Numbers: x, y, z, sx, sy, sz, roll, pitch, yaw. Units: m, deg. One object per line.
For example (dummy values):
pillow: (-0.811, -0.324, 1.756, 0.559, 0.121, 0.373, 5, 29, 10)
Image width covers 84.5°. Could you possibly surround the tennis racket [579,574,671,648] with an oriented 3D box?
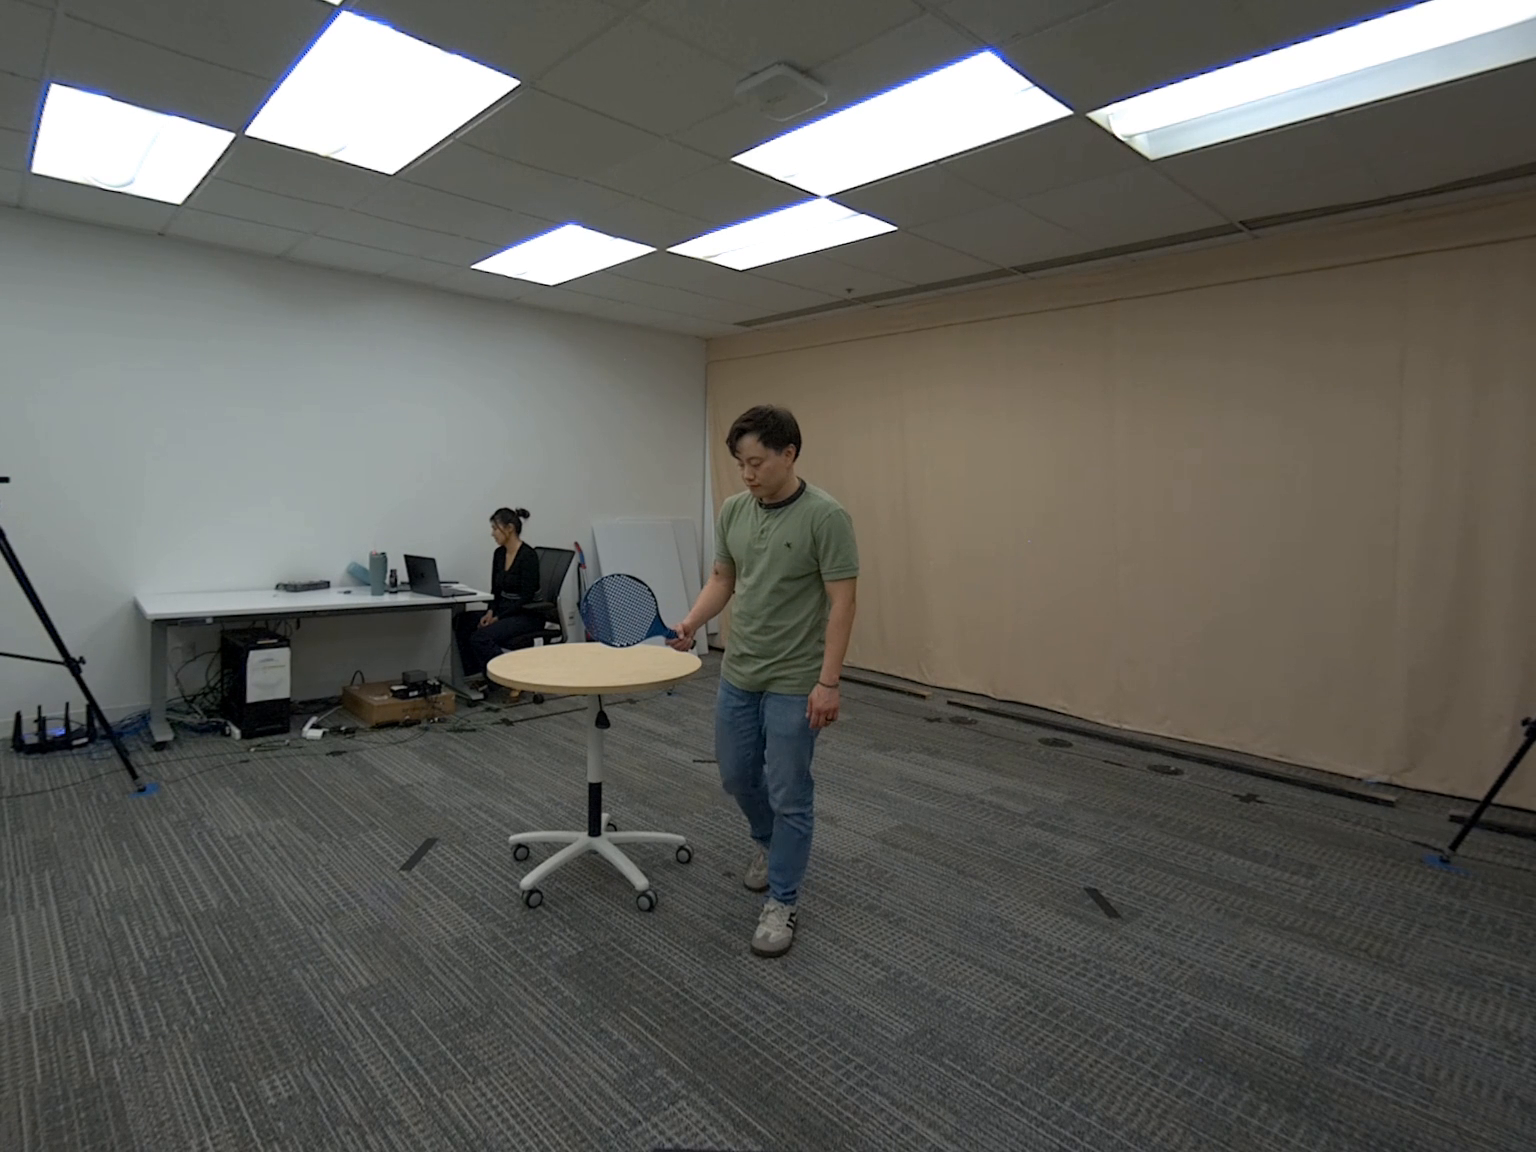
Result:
tennis racket: (-0.373, 0.137, 2.502, 0.032, 0.214, 0.419, 15, -14, 47)
